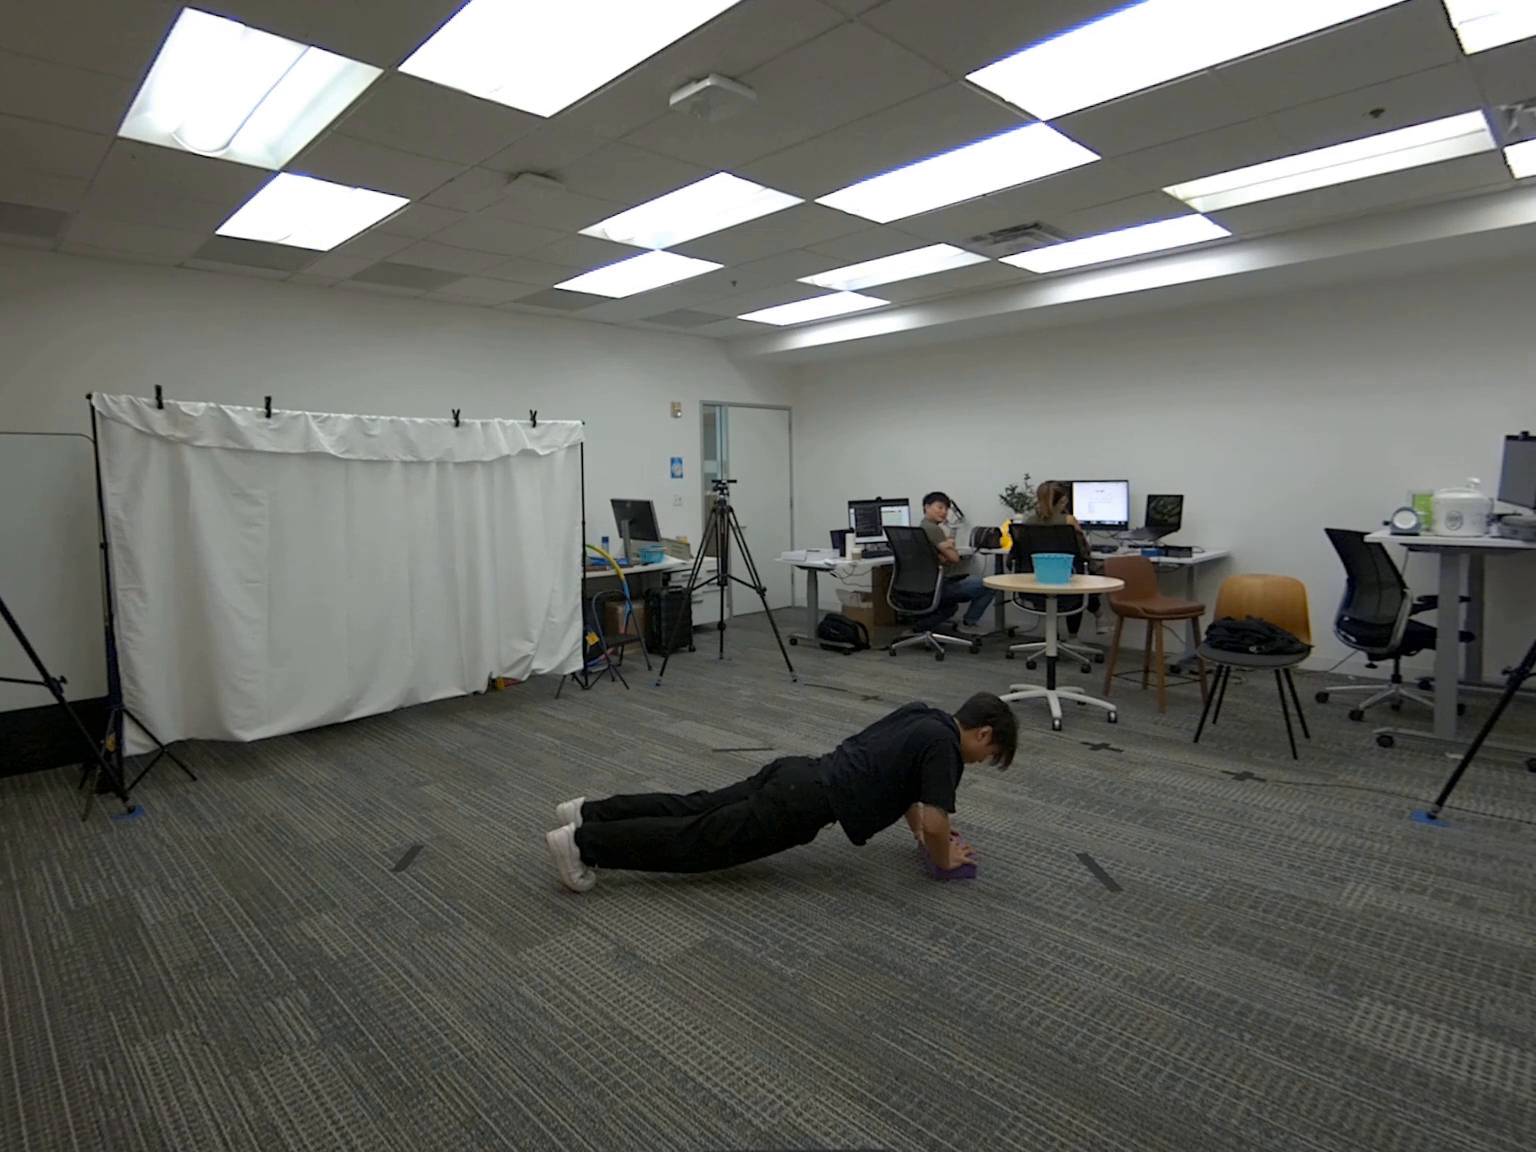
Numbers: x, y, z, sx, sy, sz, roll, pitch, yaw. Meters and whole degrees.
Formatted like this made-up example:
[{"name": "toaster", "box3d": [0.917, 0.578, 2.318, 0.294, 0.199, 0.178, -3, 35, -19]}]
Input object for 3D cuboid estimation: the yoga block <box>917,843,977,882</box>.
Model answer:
[{"name": "yoga block", "box3d": [0.641, 1.000, 3.067, 0.148, 0.076, 0.231, -1, 6, -6]}]
